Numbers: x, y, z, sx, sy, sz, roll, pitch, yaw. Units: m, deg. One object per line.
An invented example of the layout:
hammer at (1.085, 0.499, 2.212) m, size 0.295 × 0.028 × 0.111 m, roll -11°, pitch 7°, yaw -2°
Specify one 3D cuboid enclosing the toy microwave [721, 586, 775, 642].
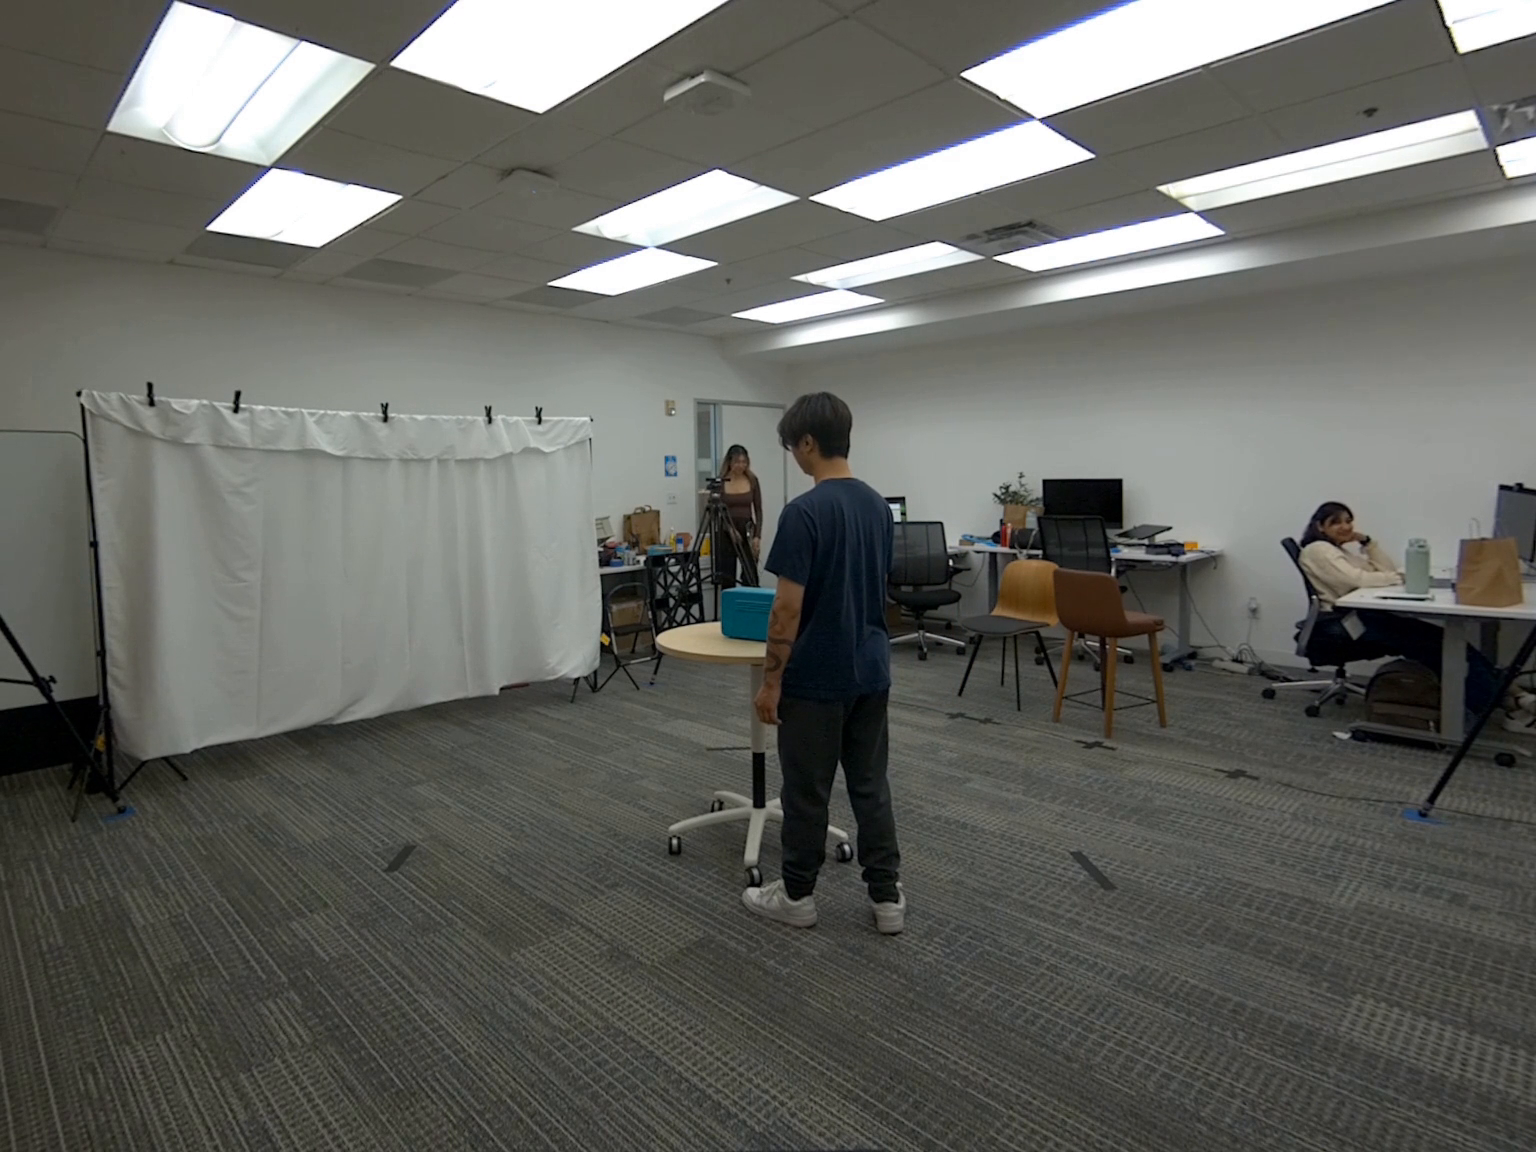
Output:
toy microwave at (-0.027, 0.144, 3.196) m, size 0.294 × 0.183 × 0.149 m, roll 3°, pitch 5°, yaw 30°
